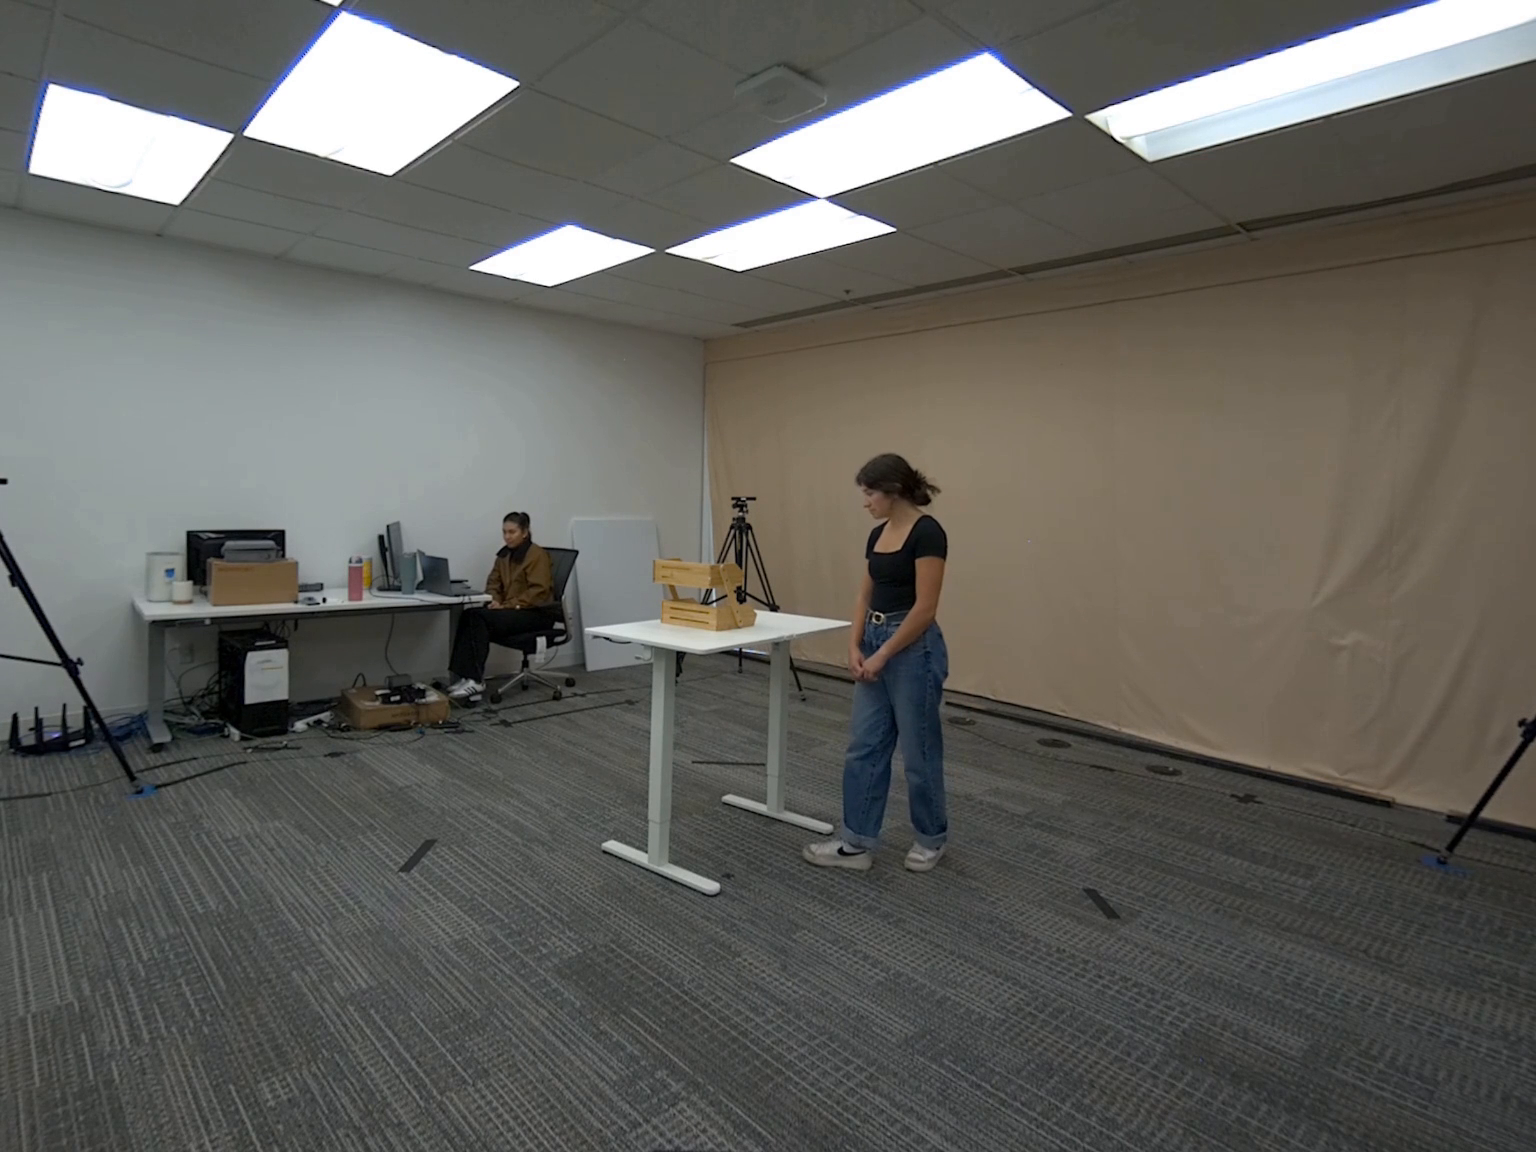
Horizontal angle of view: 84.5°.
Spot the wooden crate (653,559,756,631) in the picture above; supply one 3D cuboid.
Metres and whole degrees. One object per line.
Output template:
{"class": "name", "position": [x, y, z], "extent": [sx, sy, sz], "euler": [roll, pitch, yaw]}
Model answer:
{"class": "wooden crate", "position": [-0.255, 0.063, 3.390], "extent": [0.332, 0.272, 0.295], "euler": [5, 5, 36]}
